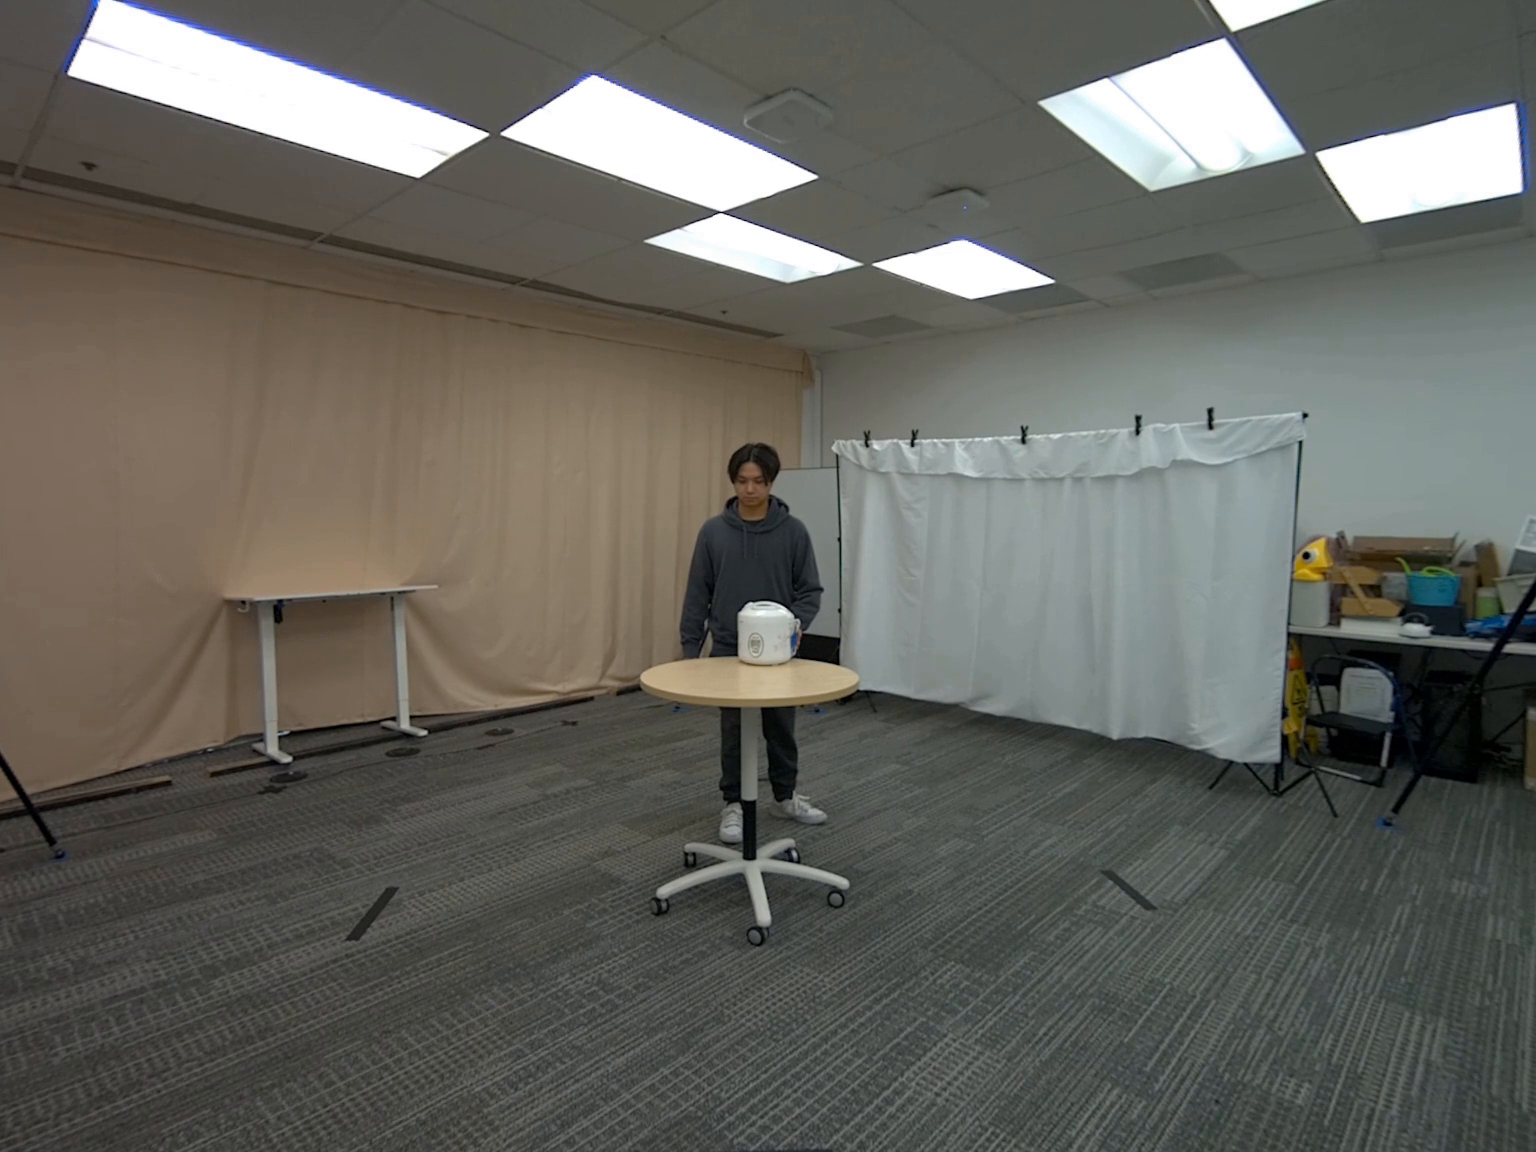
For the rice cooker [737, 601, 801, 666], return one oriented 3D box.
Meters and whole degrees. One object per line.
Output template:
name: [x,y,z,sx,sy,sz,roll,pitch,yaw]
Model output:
rice cooker: [-0.008,0.212,3.221,0.226,0.232,0.213,1,3,21]
